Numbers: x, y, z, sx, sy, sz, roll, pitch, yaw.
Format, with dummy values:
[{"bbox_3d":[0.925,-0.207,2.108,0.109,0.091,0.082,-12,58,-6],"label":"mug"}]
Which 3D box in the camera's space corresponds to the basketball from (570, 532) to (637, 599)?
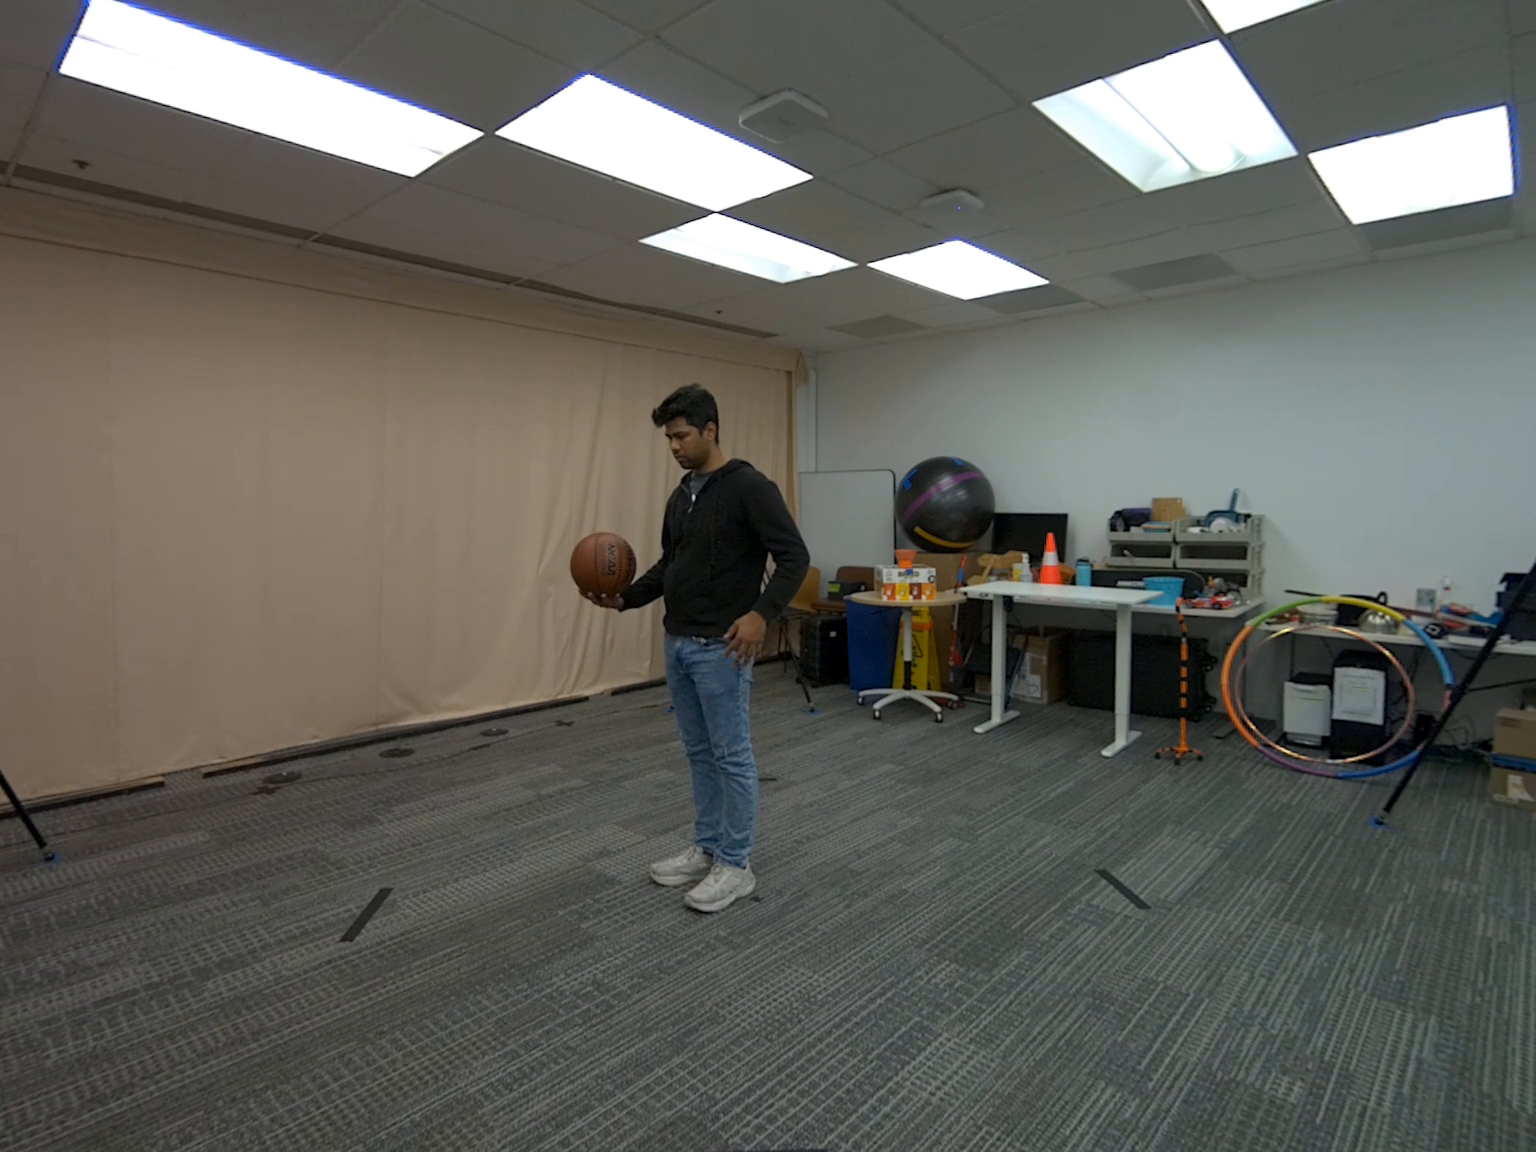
[{"bbox_3d":[-0.573,-0.042,3.046,0.236,0.235,0.237,0,4,-2],"label":"basketball"}]
